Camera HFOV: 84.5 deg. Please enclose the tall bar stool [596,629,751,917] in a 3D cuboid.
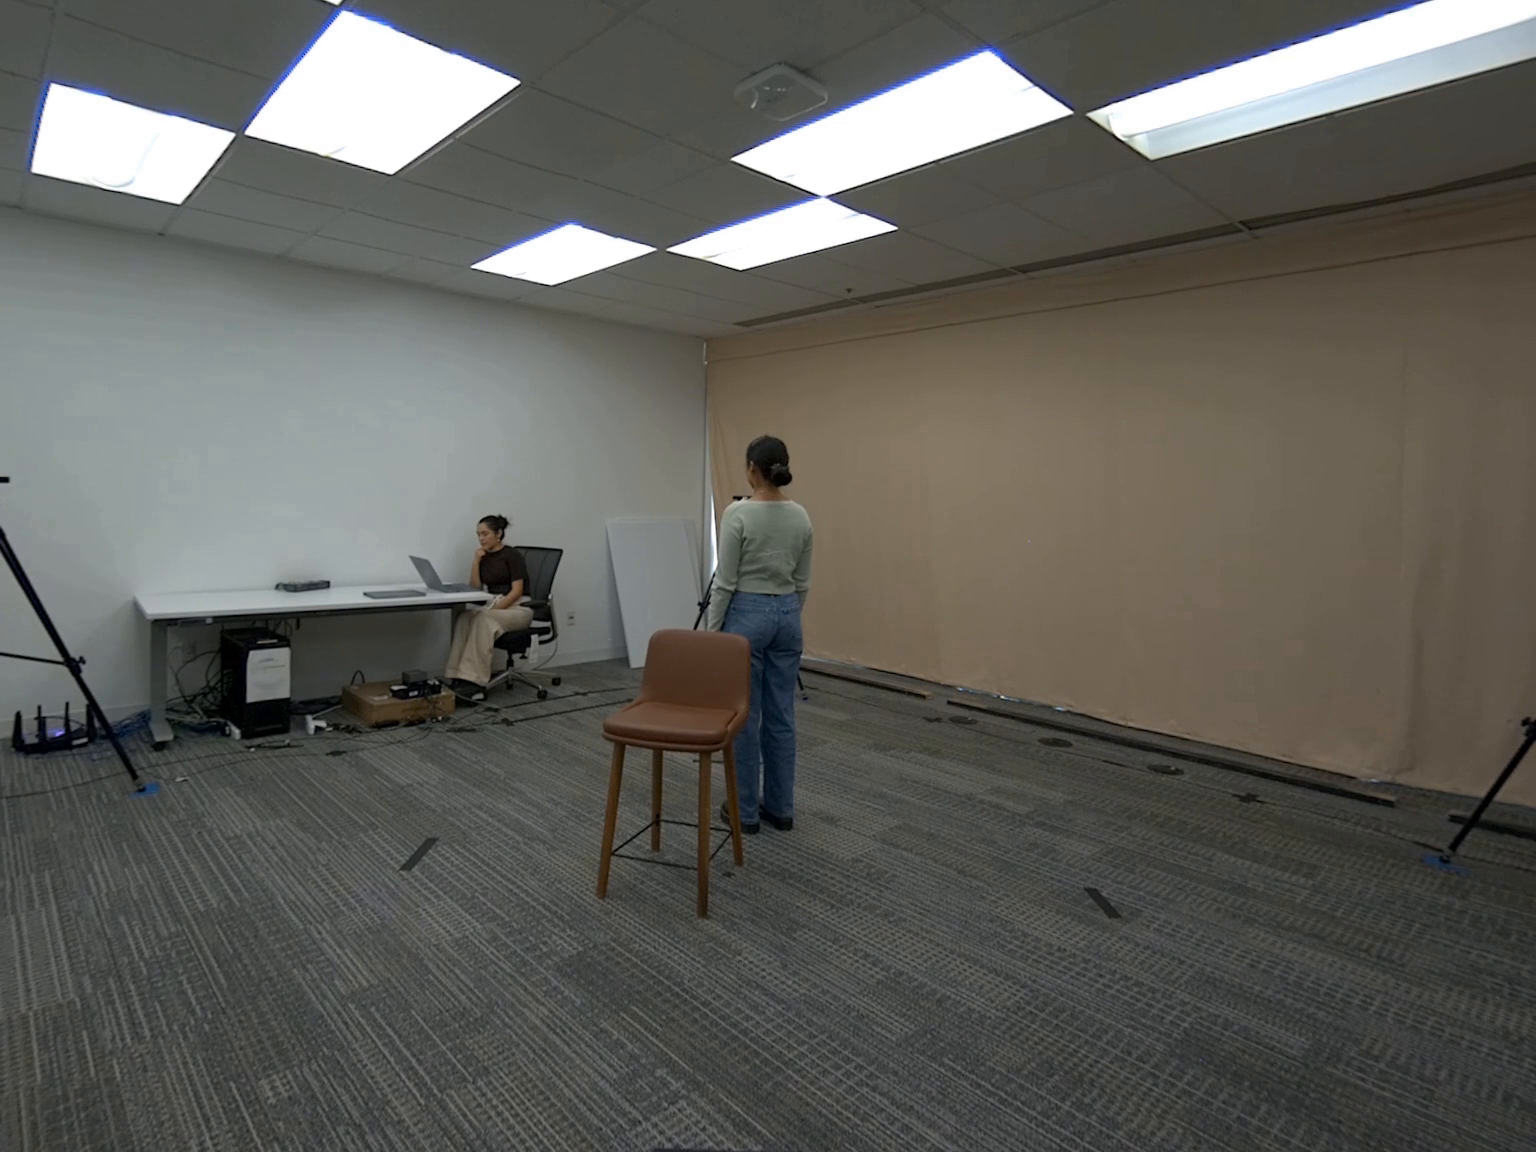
[{"bbox_3d":[-0.329,0.666,3.035,0.464,0.889,0.460,3,1,19],"label":"tall bar stool"}]
